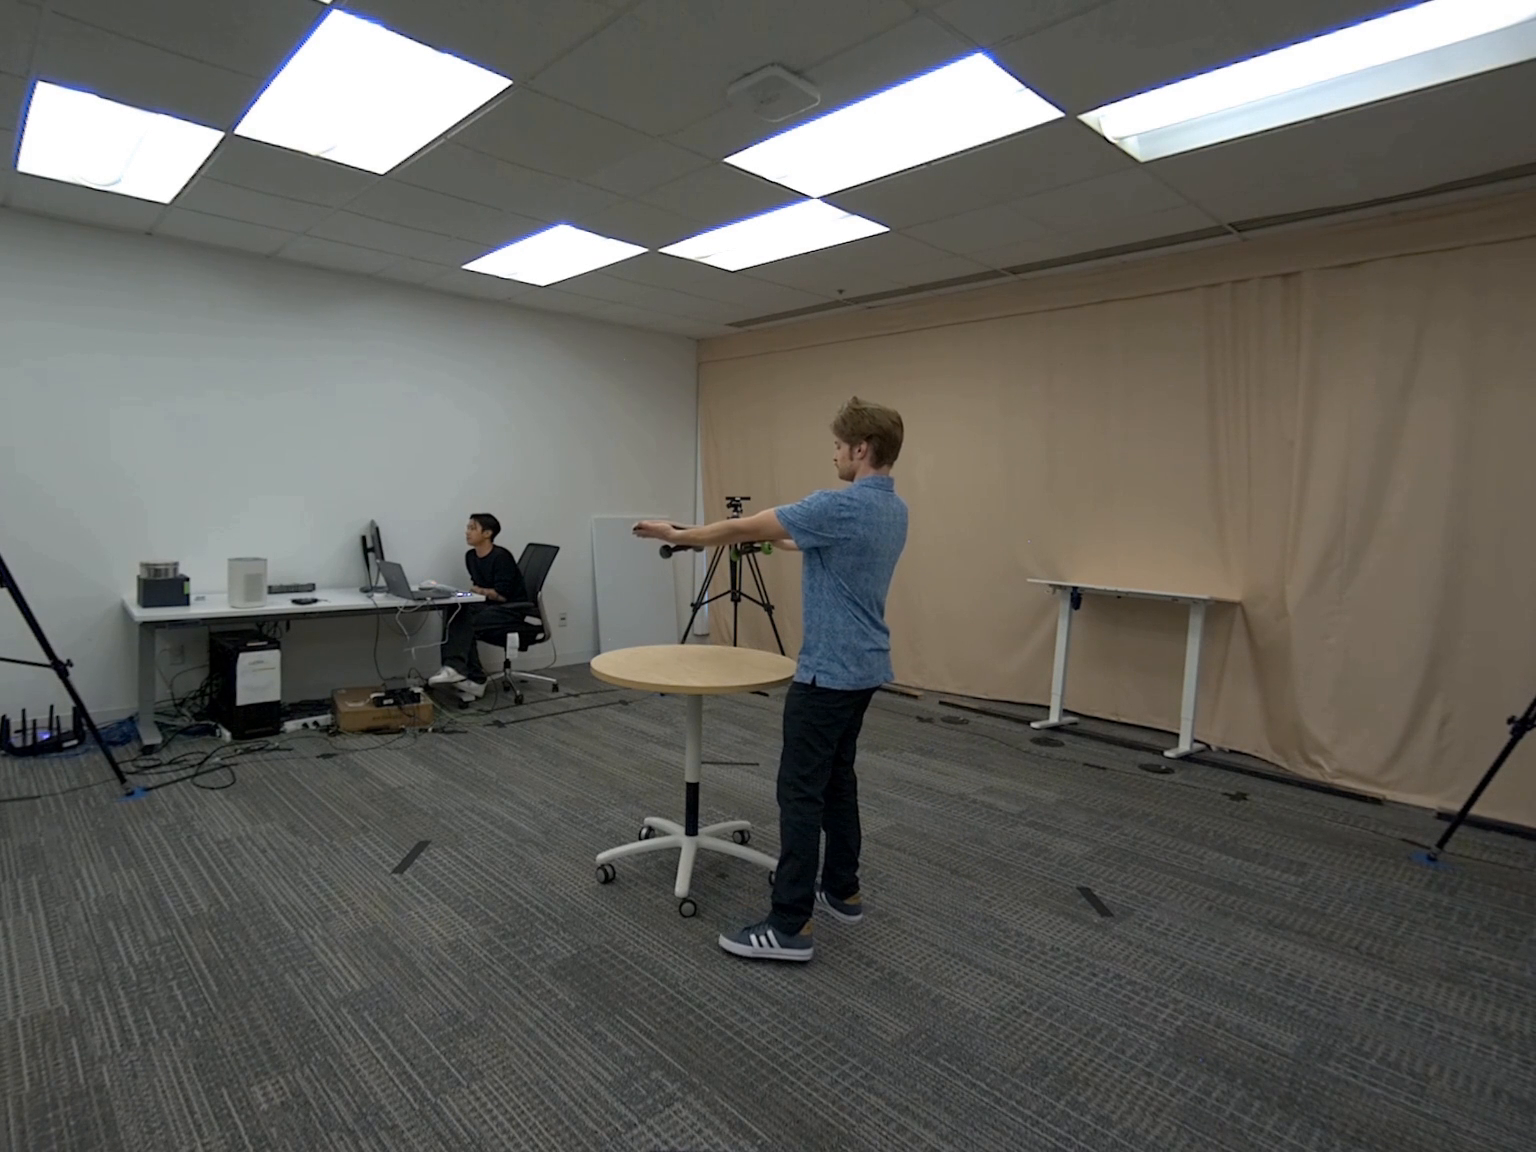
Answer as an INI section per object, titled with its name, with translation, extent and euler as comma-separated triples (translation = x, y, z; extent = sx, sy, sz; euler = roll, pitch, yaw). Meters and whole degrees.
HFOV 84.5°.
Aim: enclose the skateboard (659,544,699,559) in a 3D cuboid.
[skateboard]
translation = -0.187, -0.121, 3.096
extent = 0.197, 0.111, 0.767
euler = -11, -7, 38
